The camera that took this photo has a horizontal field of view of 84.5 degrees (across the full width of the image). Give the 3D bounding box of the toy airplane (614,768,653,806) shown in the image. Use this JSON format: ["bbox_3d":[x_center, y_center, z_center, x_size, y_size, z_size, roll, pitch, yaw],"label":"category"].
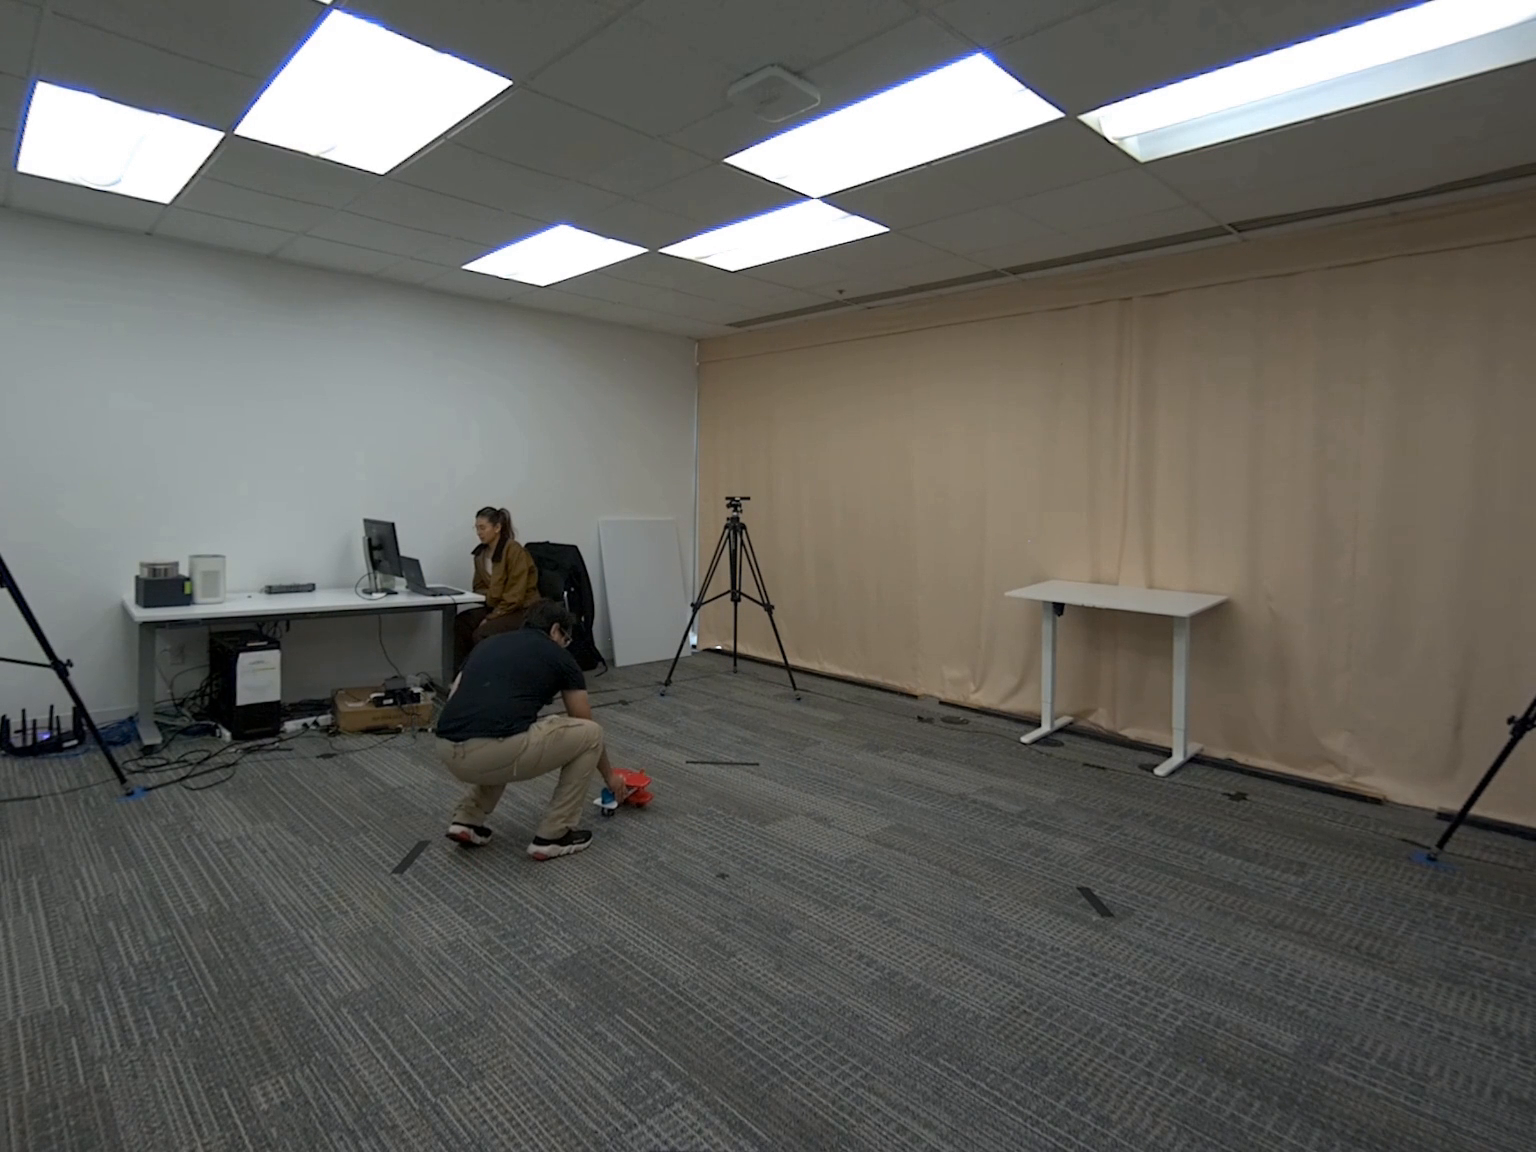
[{"bbox_3d":[-0.641,0.965,3.738,0.251,0.156,0.259,1,2,2],"label":"toy airplane"}]
